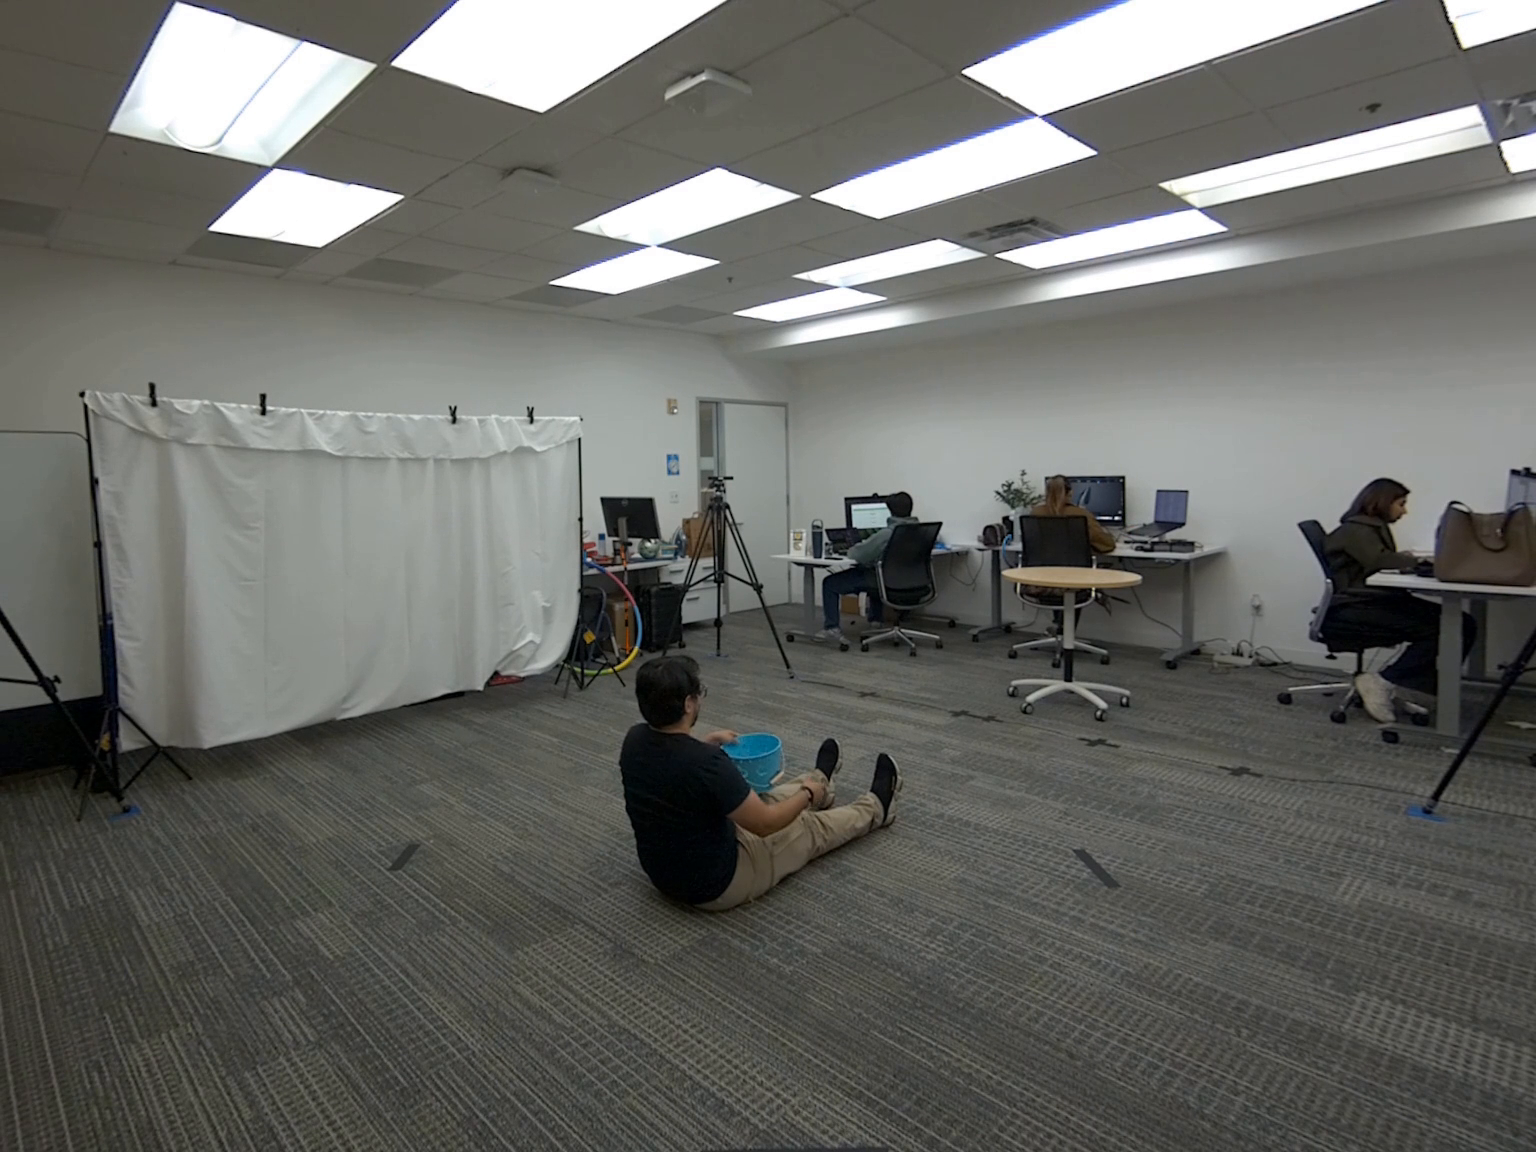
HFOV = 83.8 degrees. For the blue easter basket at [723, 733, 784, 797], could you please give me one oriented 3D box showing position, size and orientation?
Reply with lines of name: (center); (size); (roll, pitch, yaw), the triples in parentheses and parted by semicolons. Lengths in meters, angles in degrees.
blue easter basket: (-0.064, 0.711, 3.204); (0.243, 0.154, 0.246); (-7, 9, -1)
